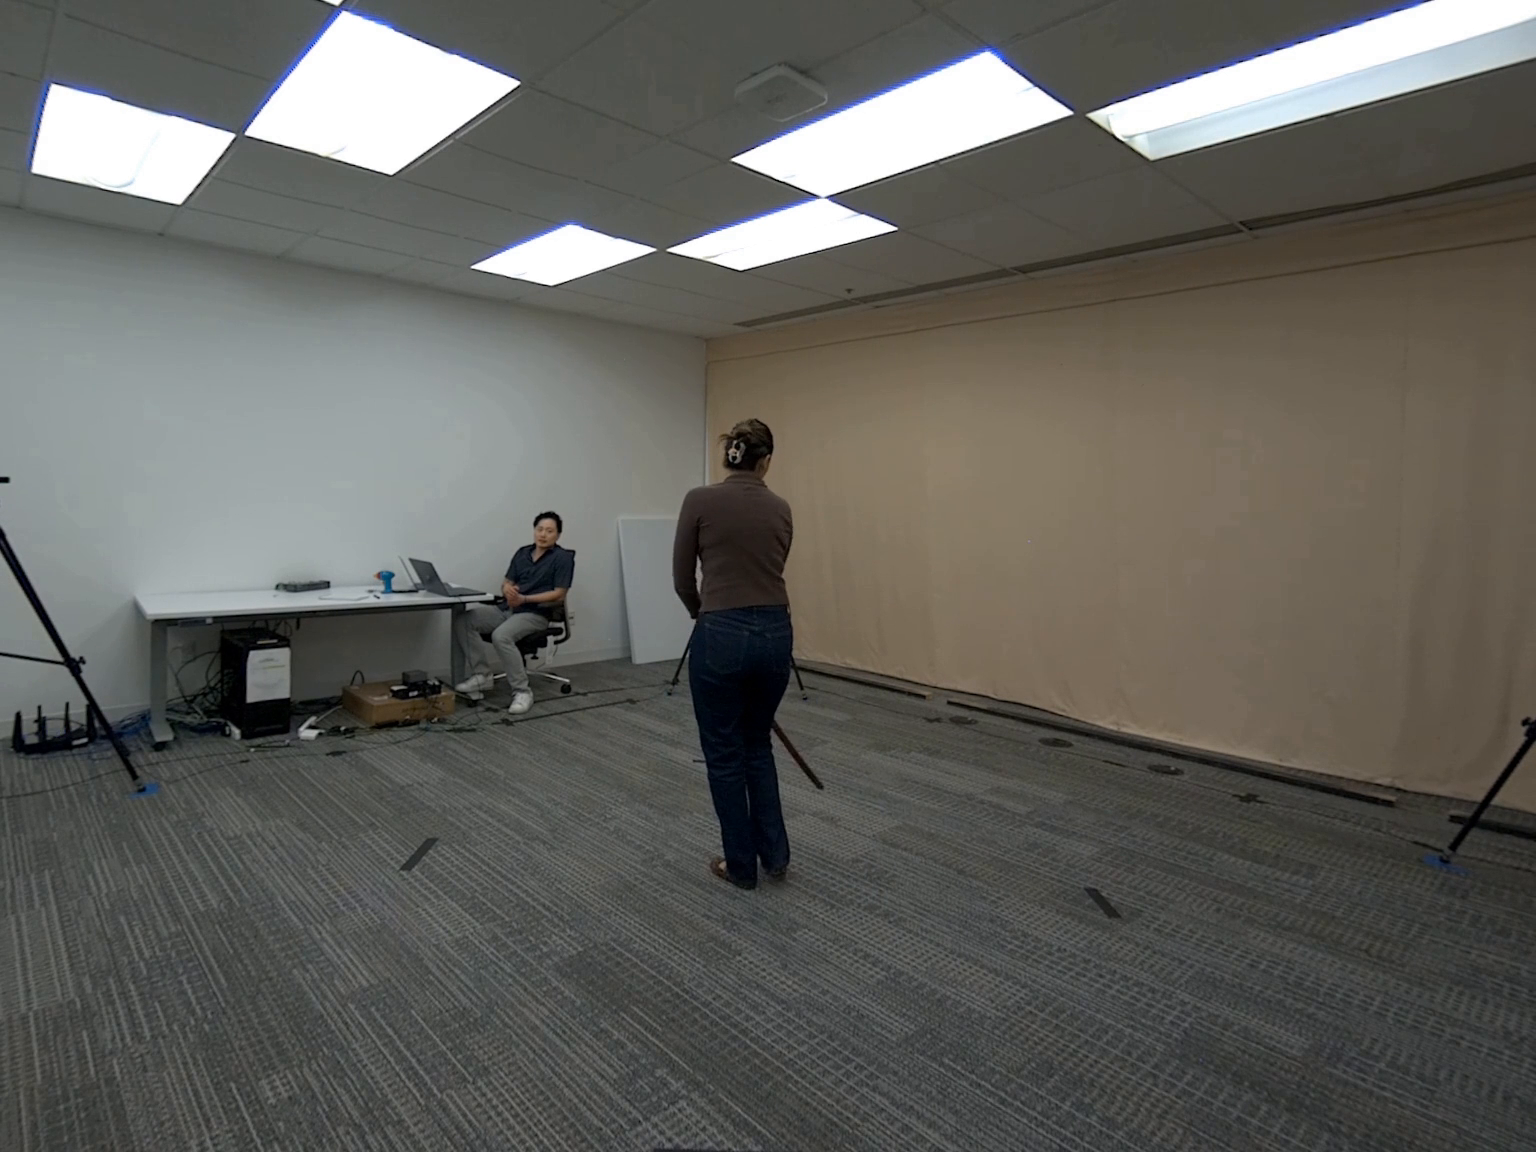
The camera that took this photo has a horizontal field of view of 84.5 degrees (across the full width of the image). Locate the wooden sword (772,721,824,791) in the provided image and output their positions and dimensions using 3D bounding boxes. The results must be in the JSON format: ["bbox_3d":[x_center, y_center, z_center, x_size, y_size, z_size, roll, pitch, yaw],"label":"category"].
[{"bbox_3d":[0.004,0.567,3.385,0.051,0.998,0.025,-45,32,-22],"label":"wooden sword"}]
